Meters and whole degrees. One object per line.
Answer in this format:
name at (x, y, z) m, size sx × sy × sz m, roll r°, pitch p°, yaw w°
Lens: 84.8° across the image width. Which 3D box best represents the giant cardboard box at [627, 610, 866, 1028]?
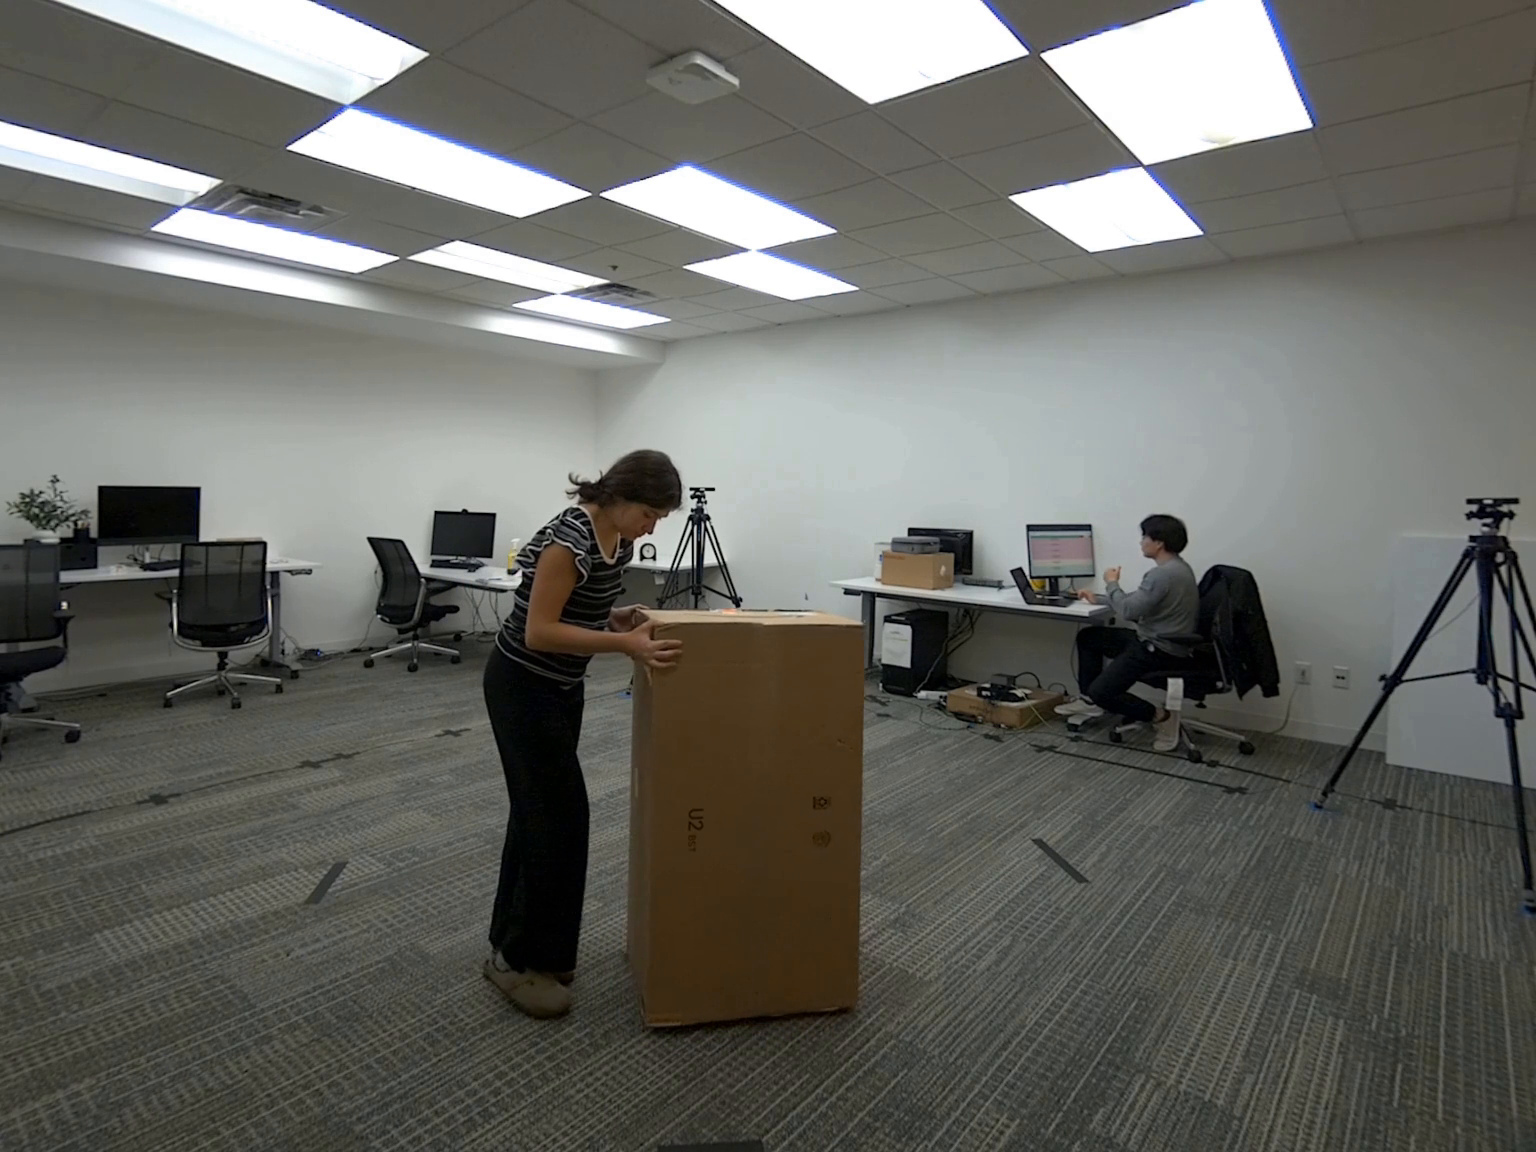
giant cardboard box at (-0.088, 0.626, 2.409) m, size 0.570 × 1.026 × 0.432 m, roll 1°, pitch 0°, yaw -13°
